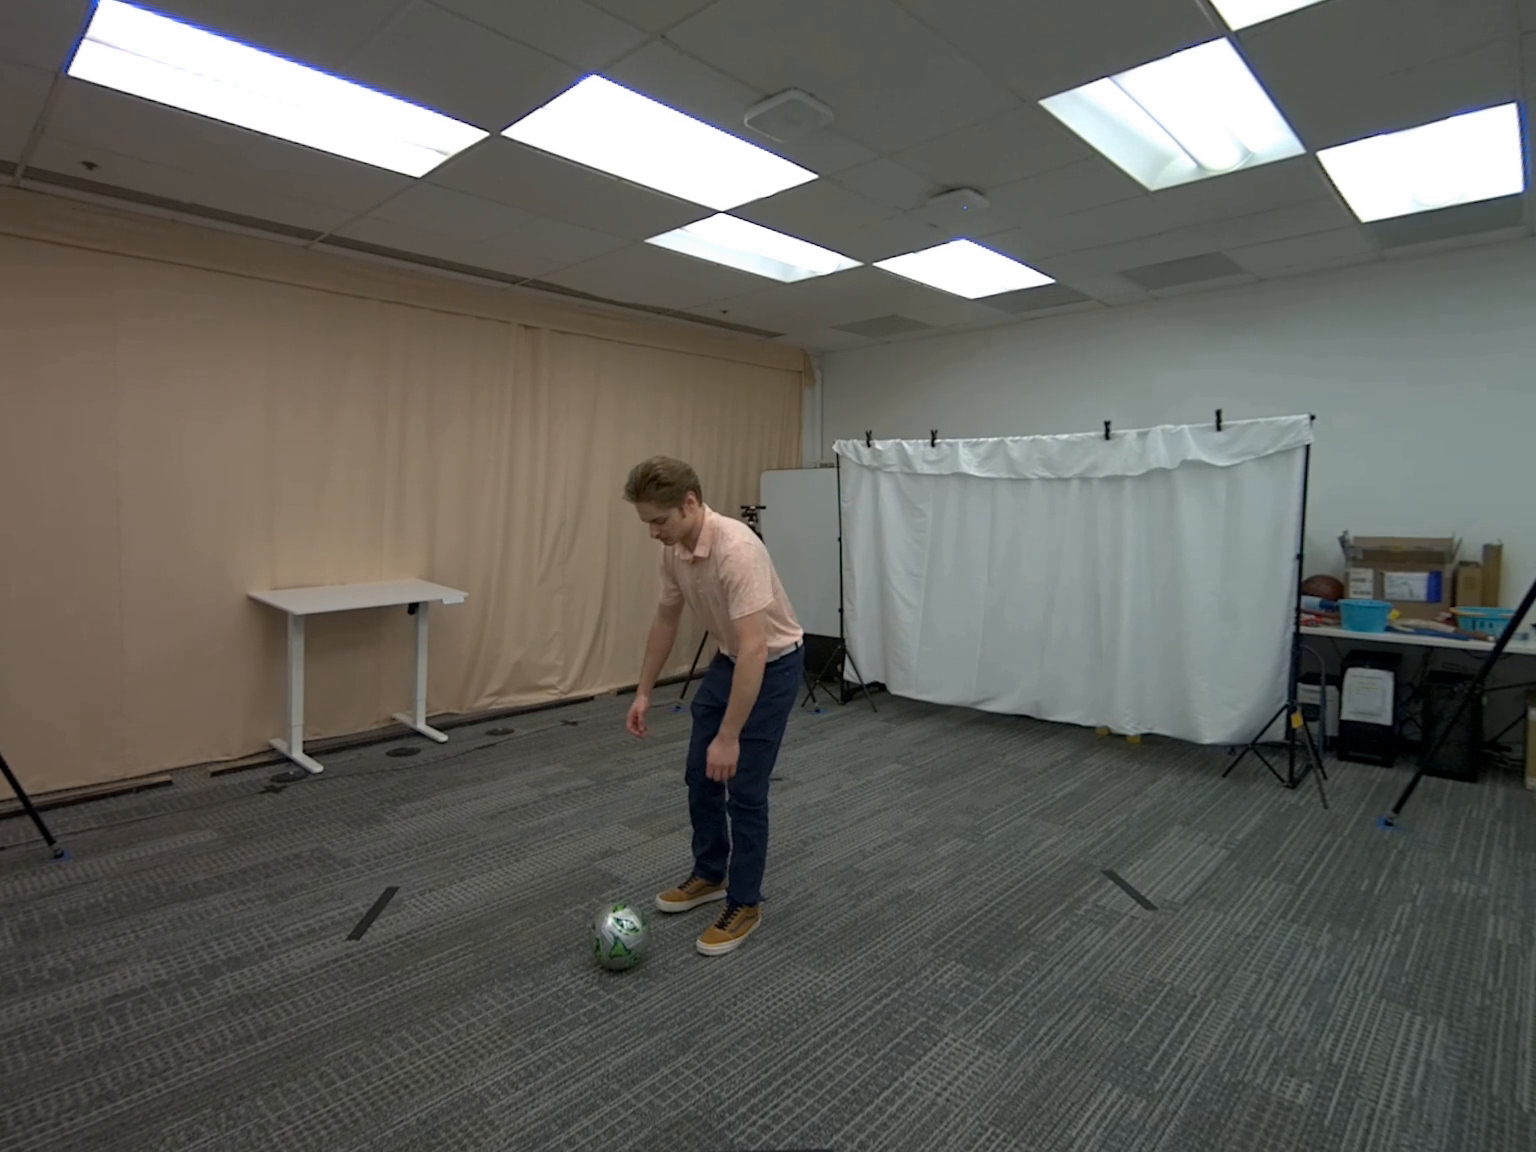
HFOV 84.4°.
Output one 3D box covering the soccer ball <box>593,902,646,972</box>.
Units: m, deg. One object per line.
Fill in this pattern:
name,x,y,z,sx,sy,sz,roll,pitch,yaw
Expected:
soccer ball,-0.447,1.093,2.550,0.187,0.187,0.188,0,4,-2
